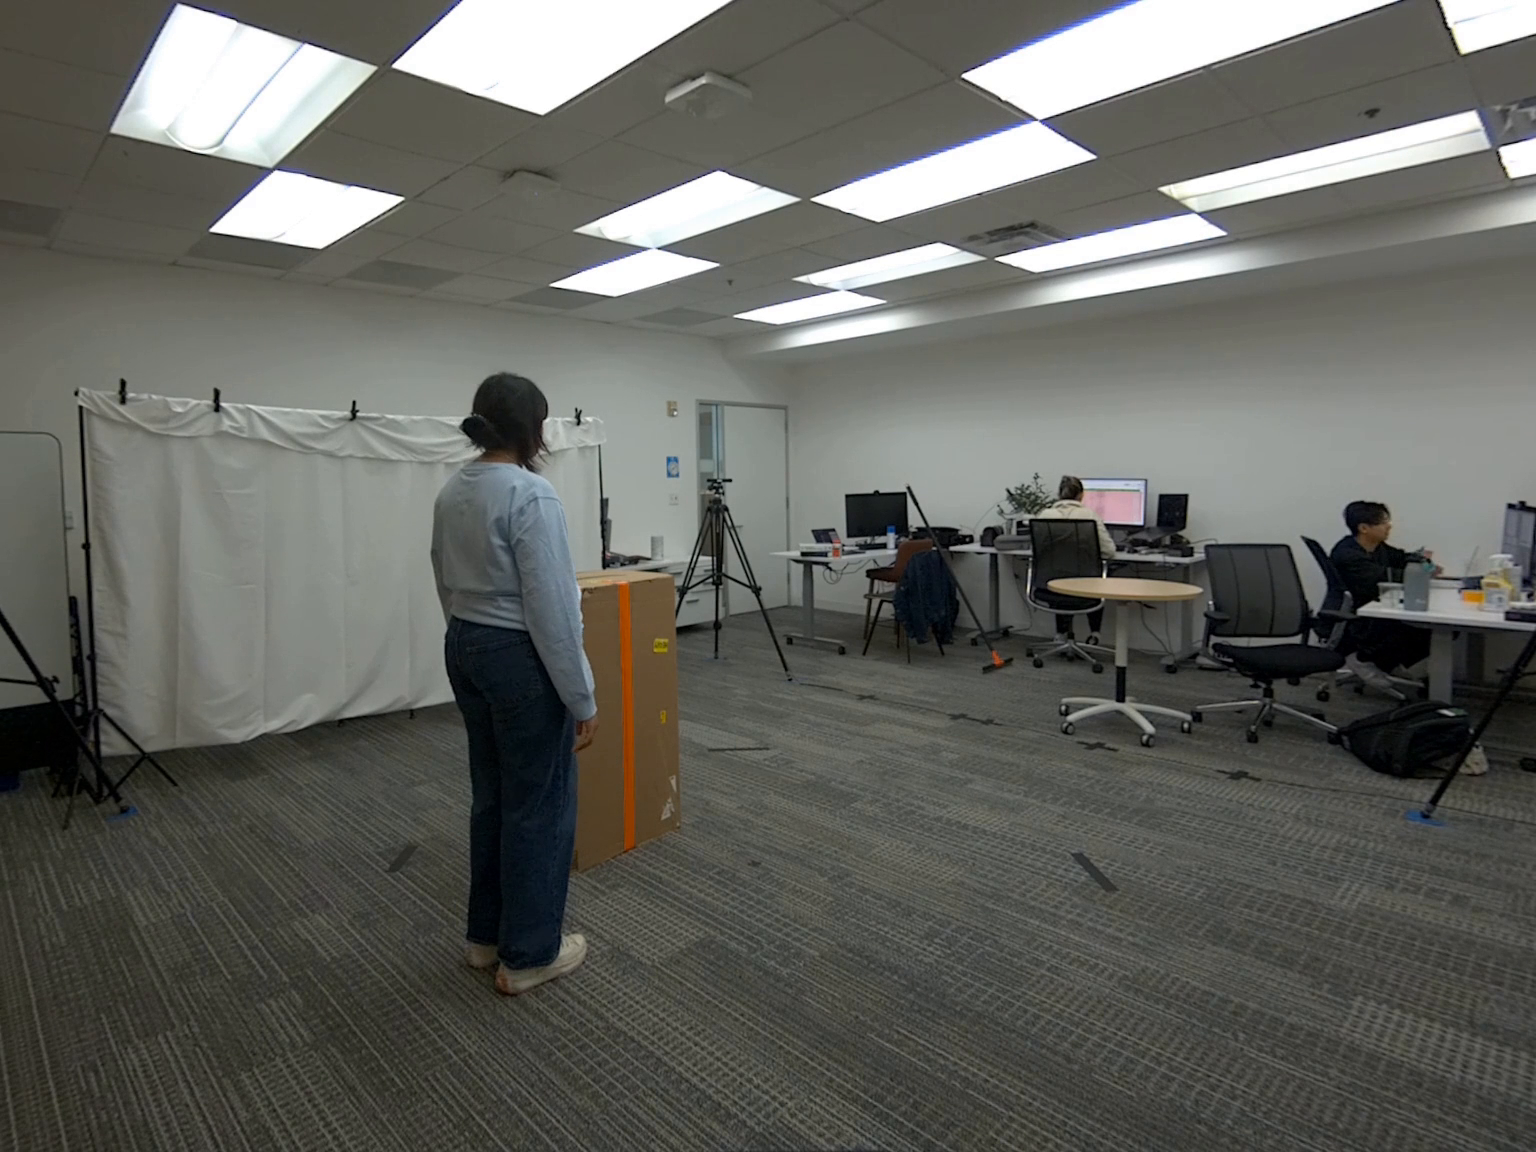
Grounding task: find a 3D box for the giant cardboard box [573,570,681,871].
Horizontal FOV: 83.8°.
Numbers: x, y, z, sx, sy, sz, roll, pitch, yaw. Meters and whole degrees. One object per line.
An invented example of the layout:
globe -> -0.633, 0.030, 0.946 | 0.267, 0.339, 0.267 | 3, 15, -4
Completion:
giant cardboard box -> -0.697, 0.519, 3.345 | 0.460, 1.023, 0.568 | 3, 5, 41
